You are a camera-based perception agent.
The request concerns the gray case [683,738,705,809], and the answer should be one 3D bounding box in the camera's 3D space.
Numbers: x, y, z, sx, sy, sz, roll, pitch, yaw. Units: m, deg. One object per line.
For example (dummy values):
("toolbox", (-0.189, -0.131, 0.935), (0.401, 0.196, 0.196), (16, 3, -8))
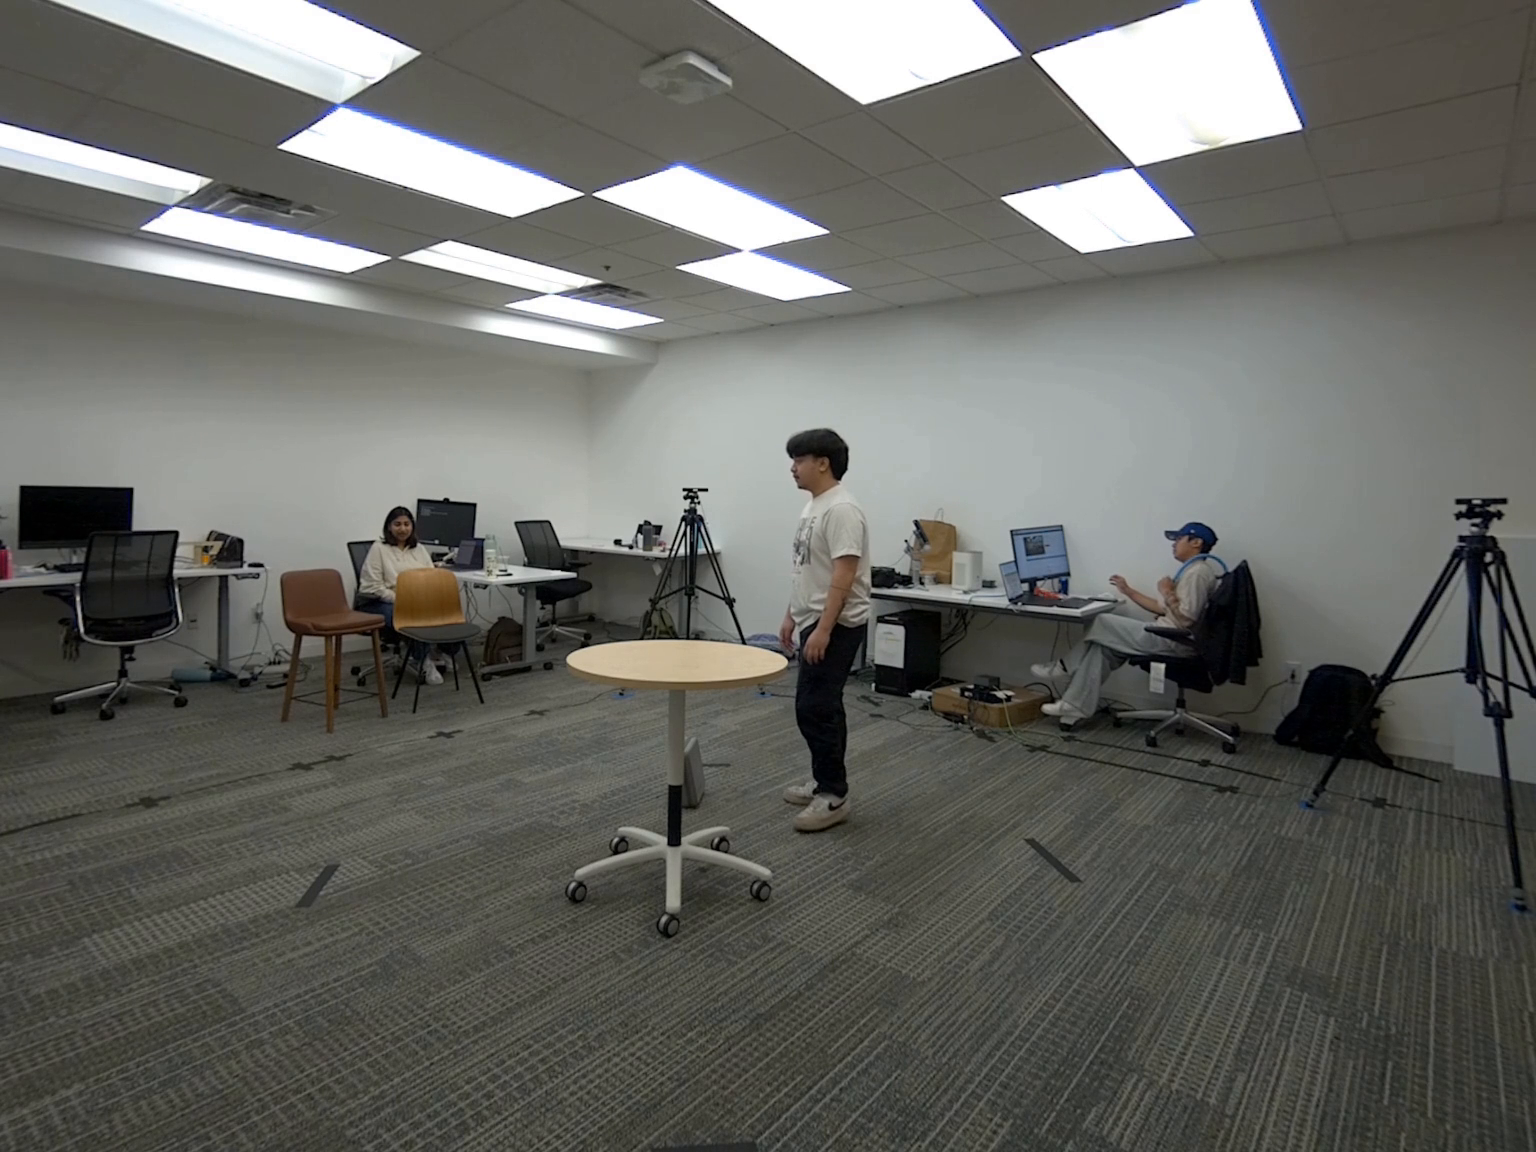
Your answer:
("gray case", (-0.374, 0.872, 3.821), (0.105, 0.260, 0.257), (-9, 3, 3))
